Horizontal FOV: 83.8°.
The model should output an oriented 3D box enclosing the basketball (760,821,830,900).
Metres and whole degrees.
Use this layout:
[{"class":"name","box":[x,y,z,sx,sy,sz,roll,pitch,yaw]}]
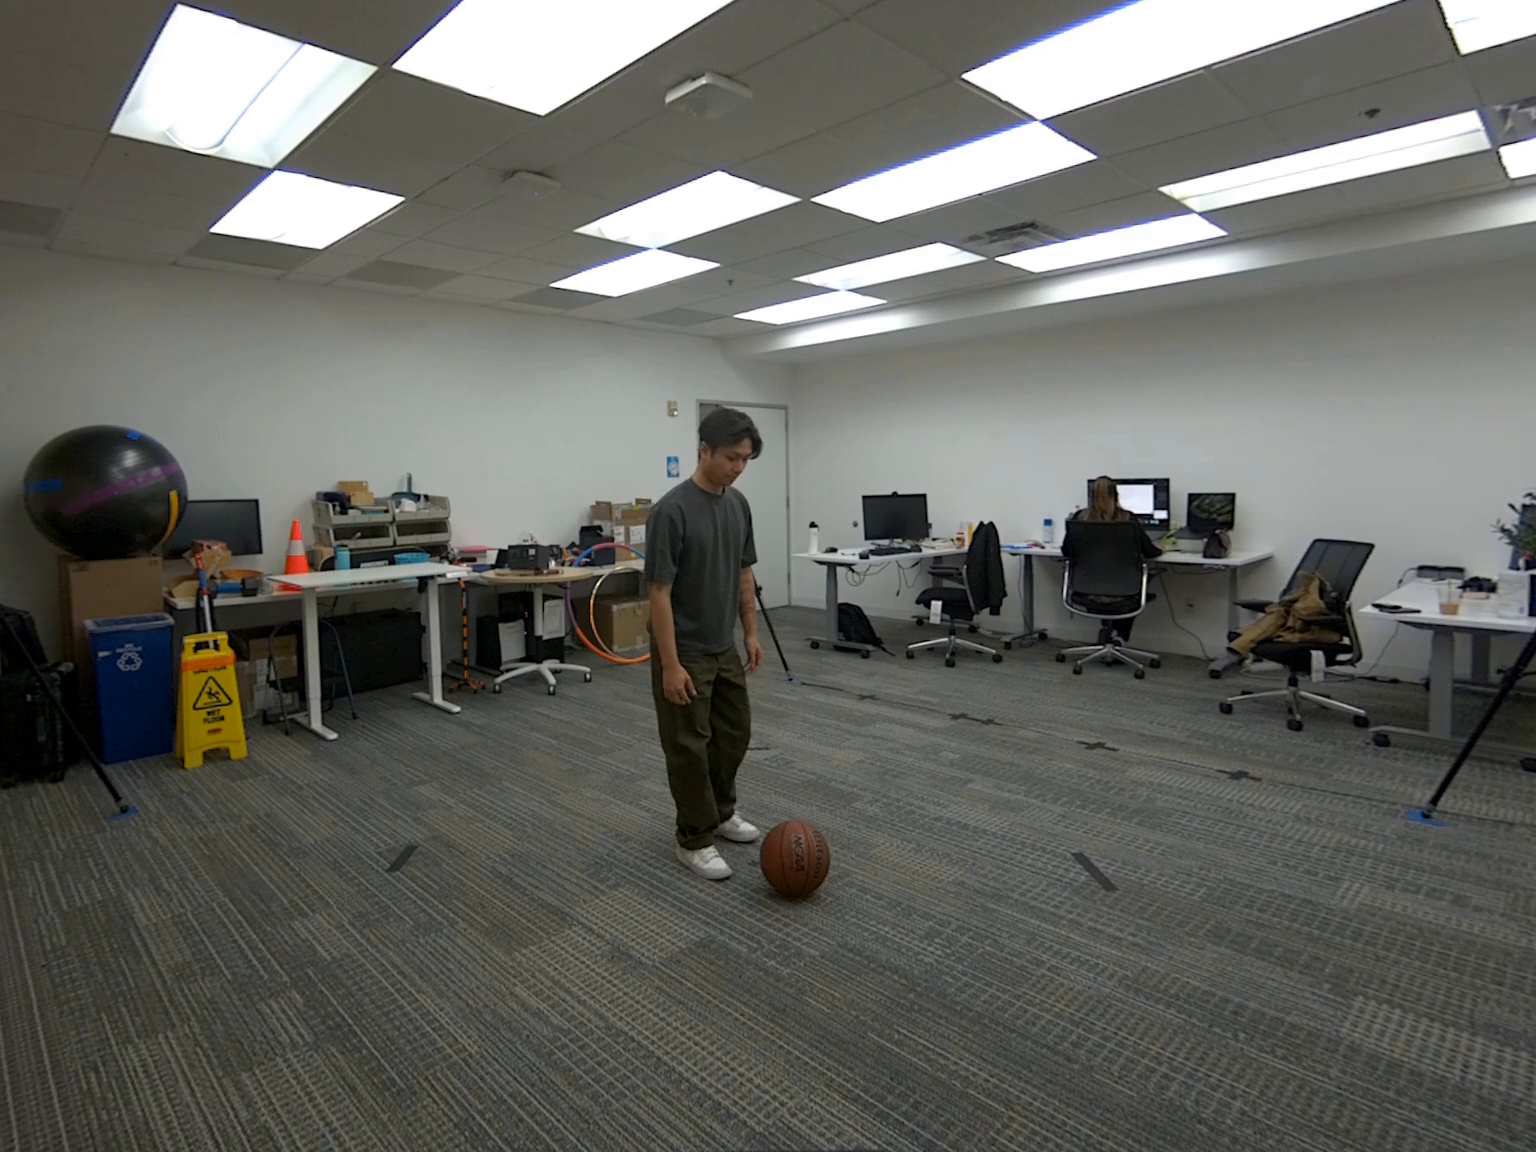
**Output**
[{"class":"basketball","box":[0.094,0.946,2.874,0.236,0.235,0.237,-1,5,-2]}]
